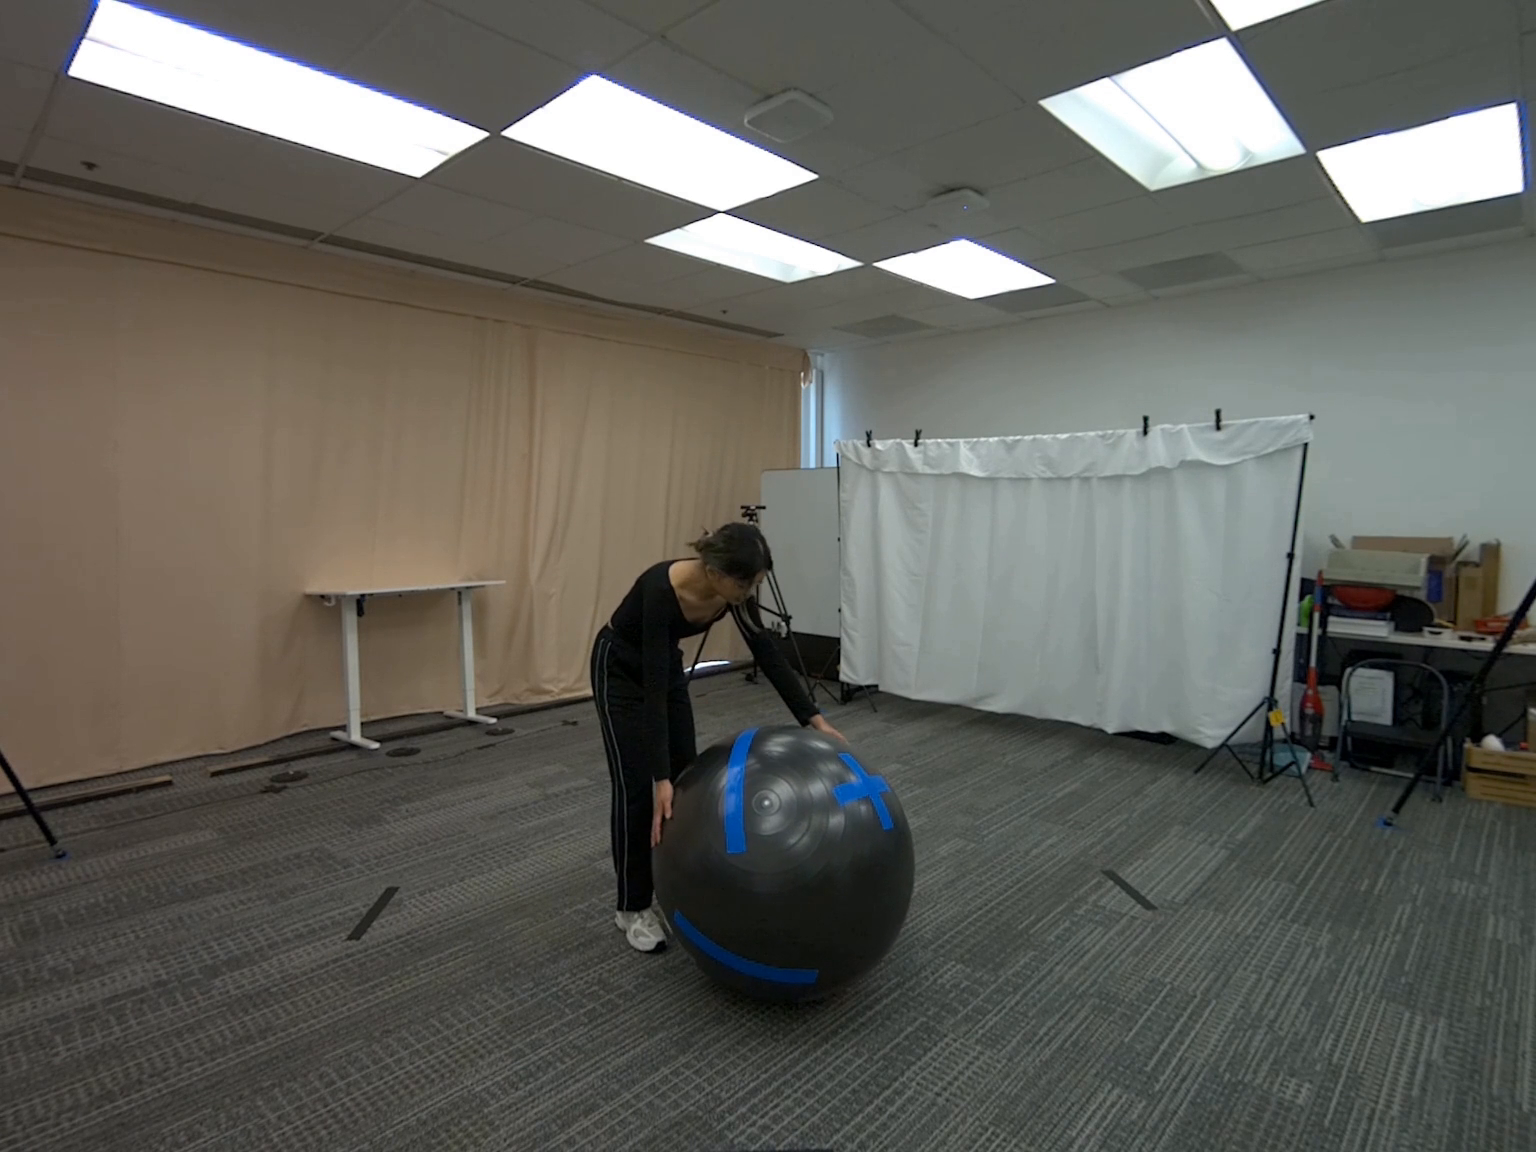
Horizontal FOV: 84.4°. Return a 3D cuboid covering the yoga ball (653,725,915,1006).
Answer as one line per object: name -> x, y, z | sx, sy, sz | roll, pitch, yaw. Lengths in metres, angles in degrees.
yoga ball -> 0.048, 0.824, 2.450 | 0.757, 0.756, 0.760 | 0, 4, -2
